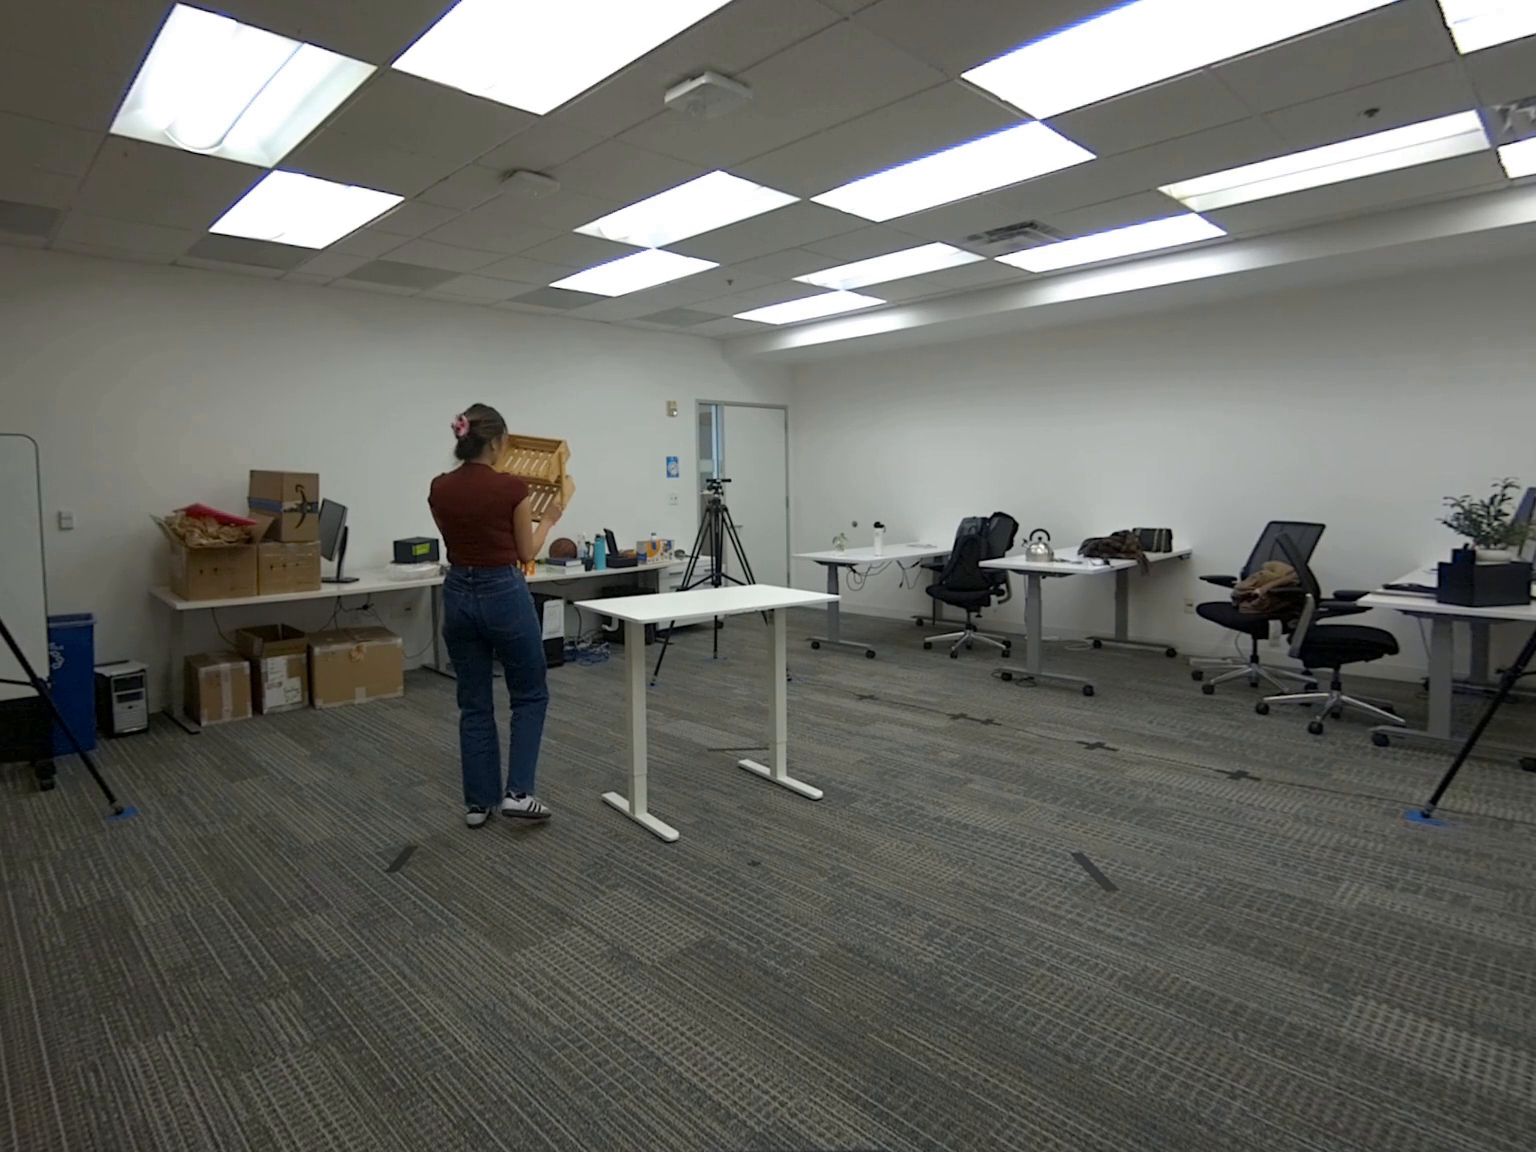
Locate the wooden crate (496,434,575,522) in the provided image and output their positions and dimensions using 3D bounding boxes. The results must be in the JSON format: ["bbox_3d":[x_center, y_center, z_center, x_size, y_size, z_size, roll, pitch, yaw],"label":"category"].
[{"bbox_3d":[-1.063,-0.426,3.800,0.330,0.264,0.307,5,49,15],"label":"wooden crate"}]
